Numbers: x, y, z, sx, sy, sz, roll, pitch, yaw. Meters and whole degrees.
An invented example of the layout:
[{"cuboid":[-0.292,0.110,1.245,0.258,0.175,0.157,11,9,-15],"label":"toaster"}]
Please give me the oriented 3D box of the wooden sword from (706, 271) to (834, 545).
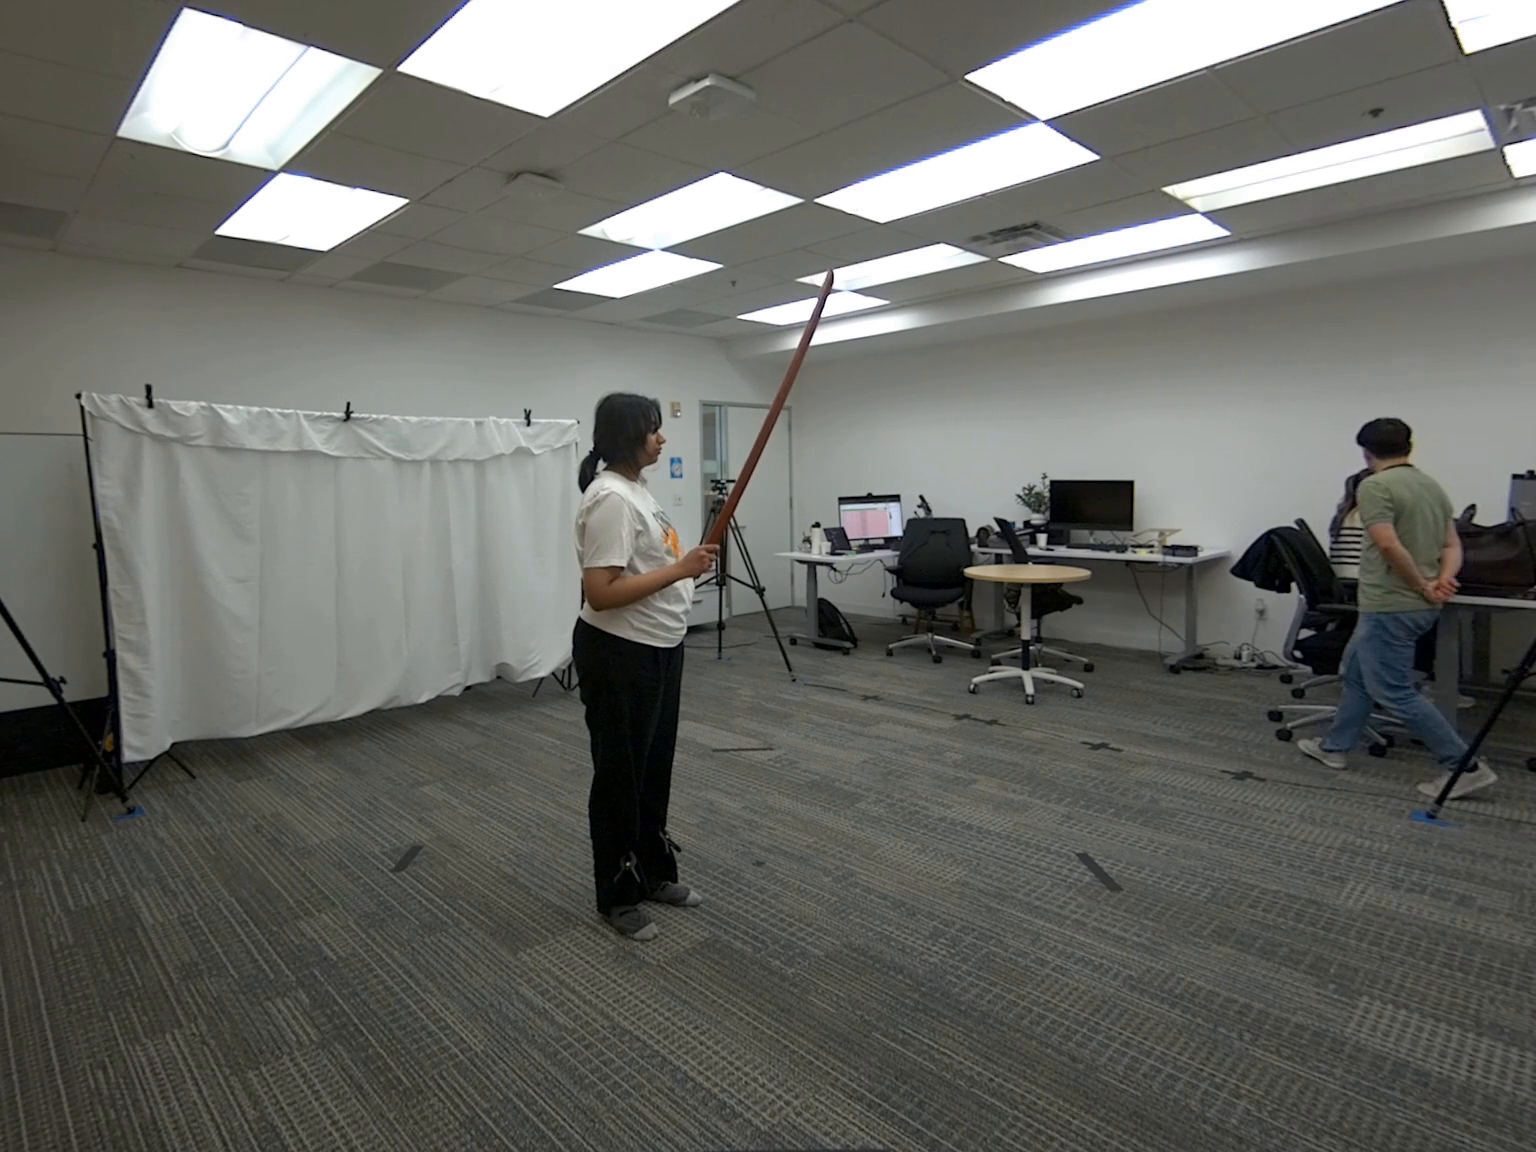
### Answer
[{"cuboid":[-0.005,-0.450,2.584,0.024,1.025,0.052,23,-1,-15],"label":"wooden sword"}]
